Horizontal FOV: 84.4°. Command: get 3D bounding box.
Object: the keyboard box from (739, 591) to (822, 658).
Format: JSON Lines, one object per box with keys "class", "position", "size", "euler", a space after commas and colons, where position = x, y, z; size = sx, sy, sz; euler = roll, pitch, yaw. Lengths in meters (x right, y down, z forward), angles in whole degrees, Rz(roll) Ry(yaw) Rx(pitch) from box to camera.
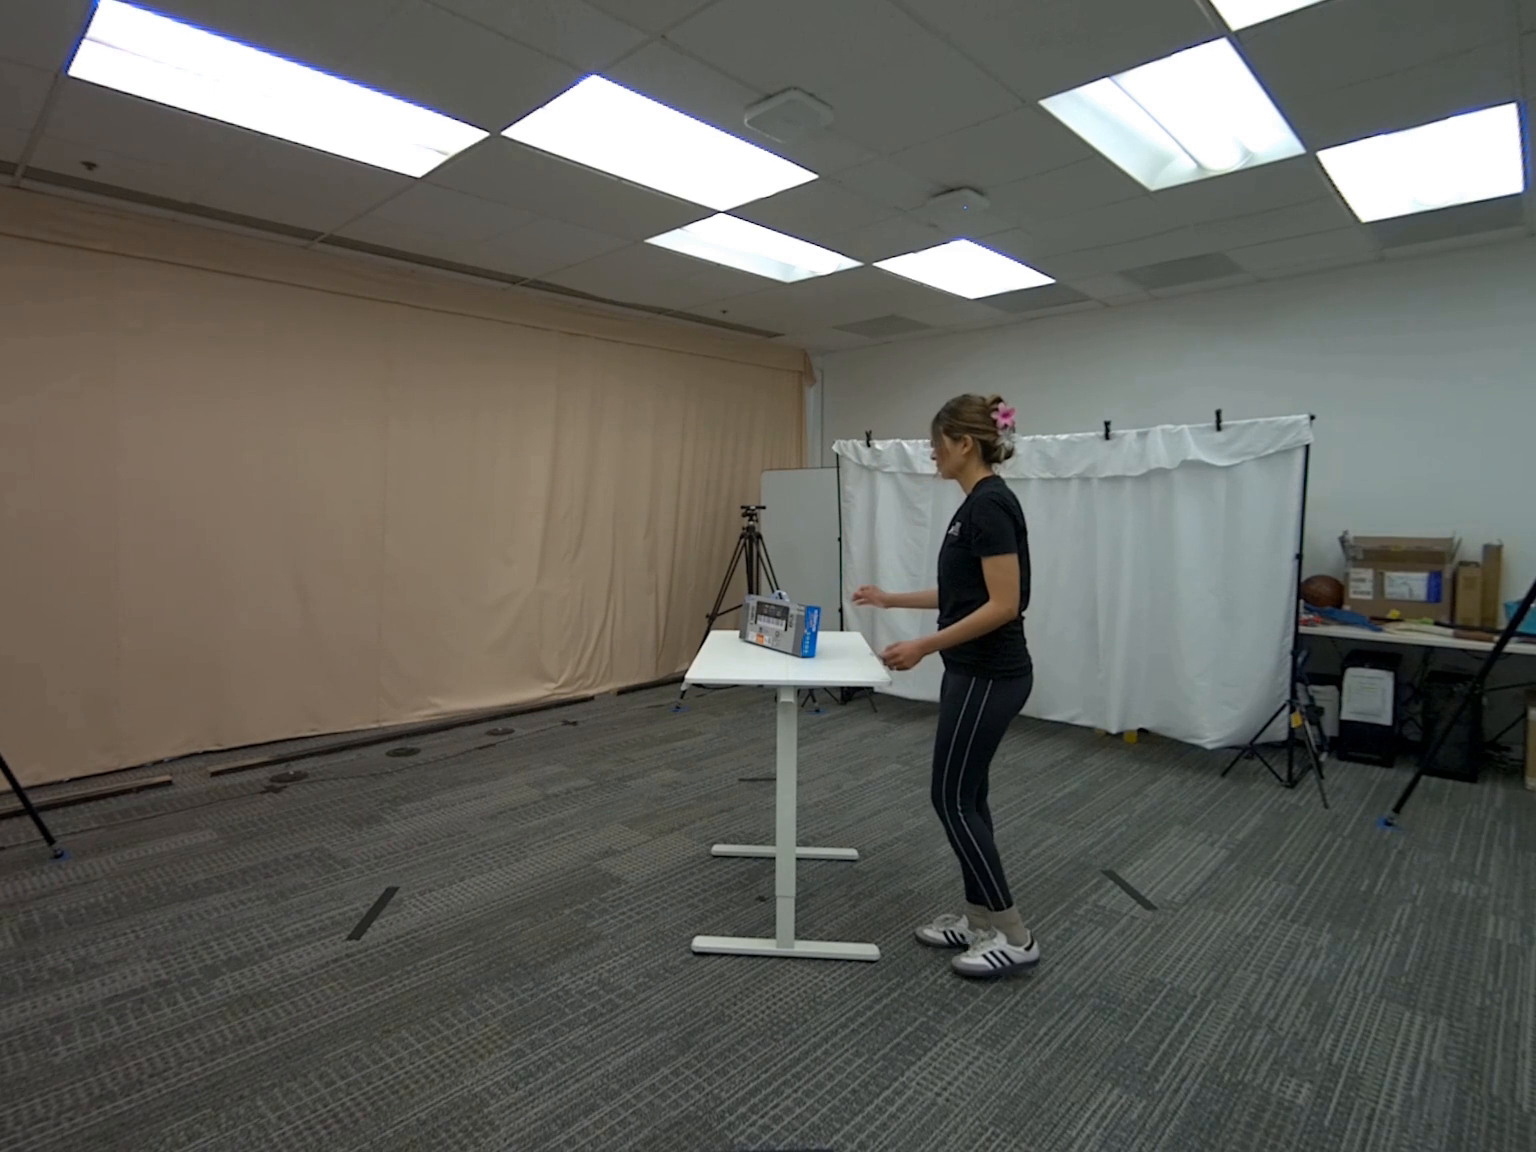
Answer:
{"class": "keyboard box", "position": [0.036, 0.172, 2.997], "size": [0.057, 0.176, 0.449], "euler": [6, 1, -30]}
